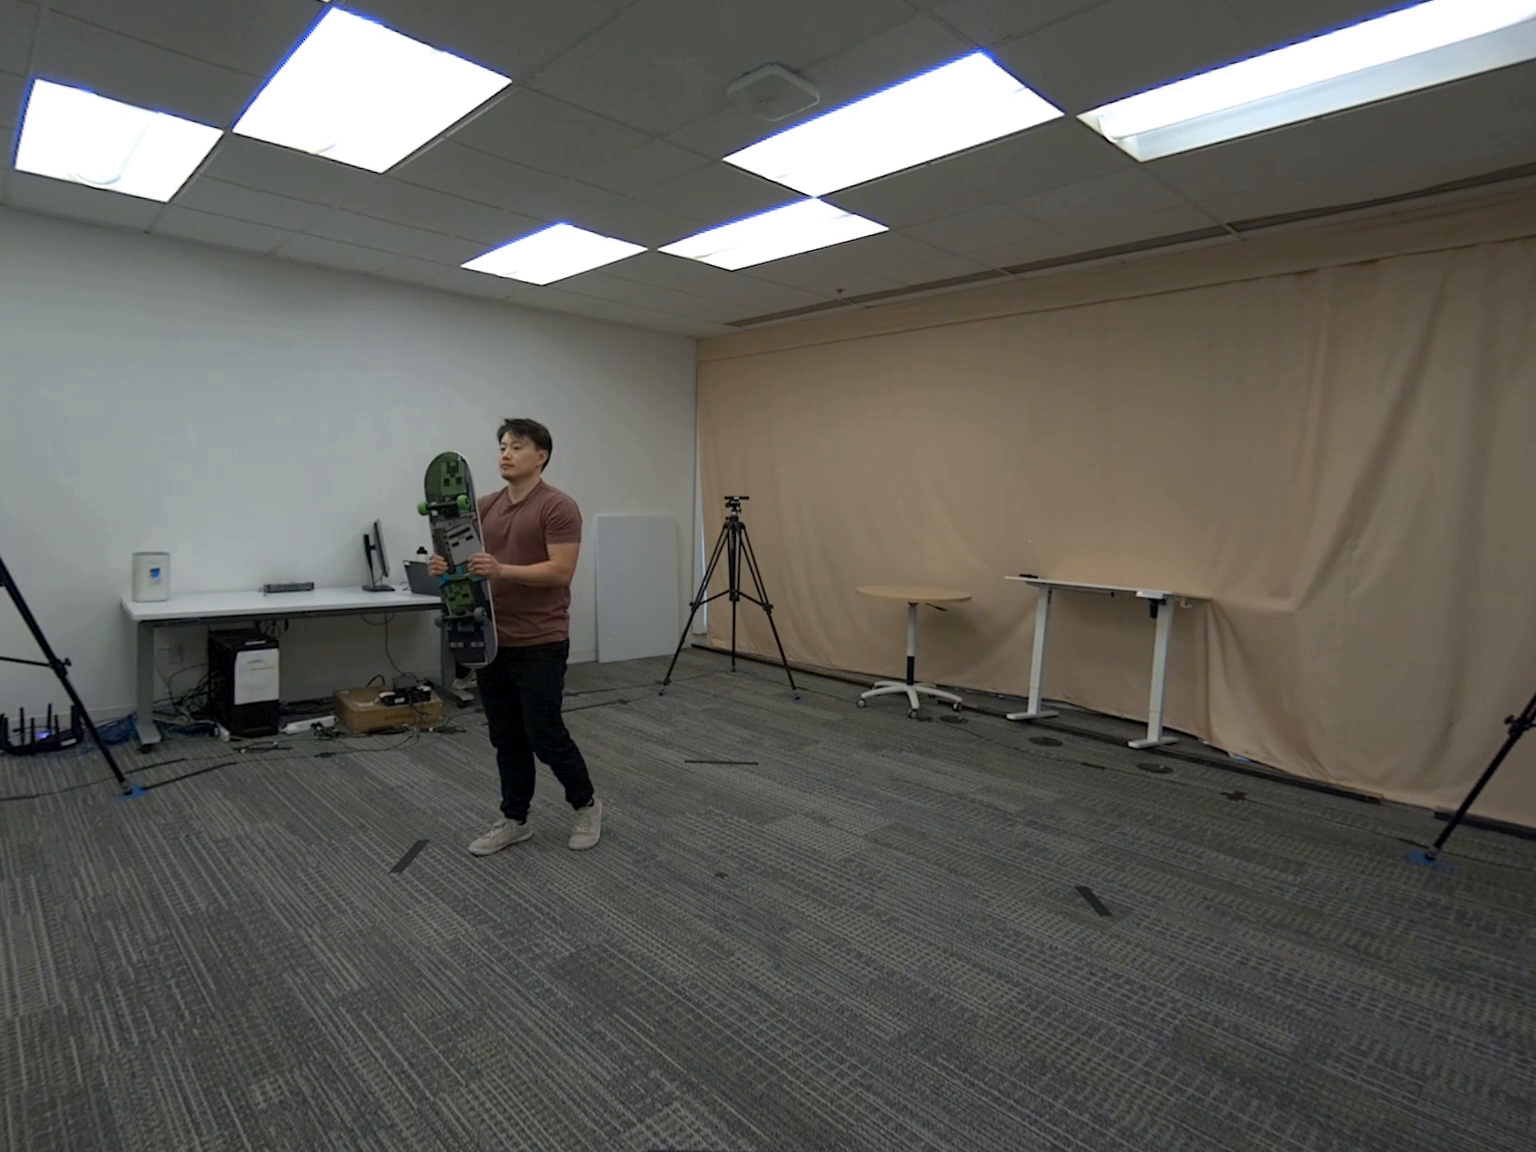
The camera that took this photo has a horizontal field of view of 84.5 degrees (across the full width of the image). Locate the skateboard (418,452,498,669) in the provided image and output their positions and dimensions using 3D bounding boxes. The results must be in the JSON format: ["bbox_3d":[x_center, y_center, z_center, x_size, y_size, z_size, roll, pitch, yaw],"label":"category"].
[{"bbox_3d":[-1.113,-0.053,2.983,0.195,0.785,0.109,-7,0,11],"label":"skateboard"}]
